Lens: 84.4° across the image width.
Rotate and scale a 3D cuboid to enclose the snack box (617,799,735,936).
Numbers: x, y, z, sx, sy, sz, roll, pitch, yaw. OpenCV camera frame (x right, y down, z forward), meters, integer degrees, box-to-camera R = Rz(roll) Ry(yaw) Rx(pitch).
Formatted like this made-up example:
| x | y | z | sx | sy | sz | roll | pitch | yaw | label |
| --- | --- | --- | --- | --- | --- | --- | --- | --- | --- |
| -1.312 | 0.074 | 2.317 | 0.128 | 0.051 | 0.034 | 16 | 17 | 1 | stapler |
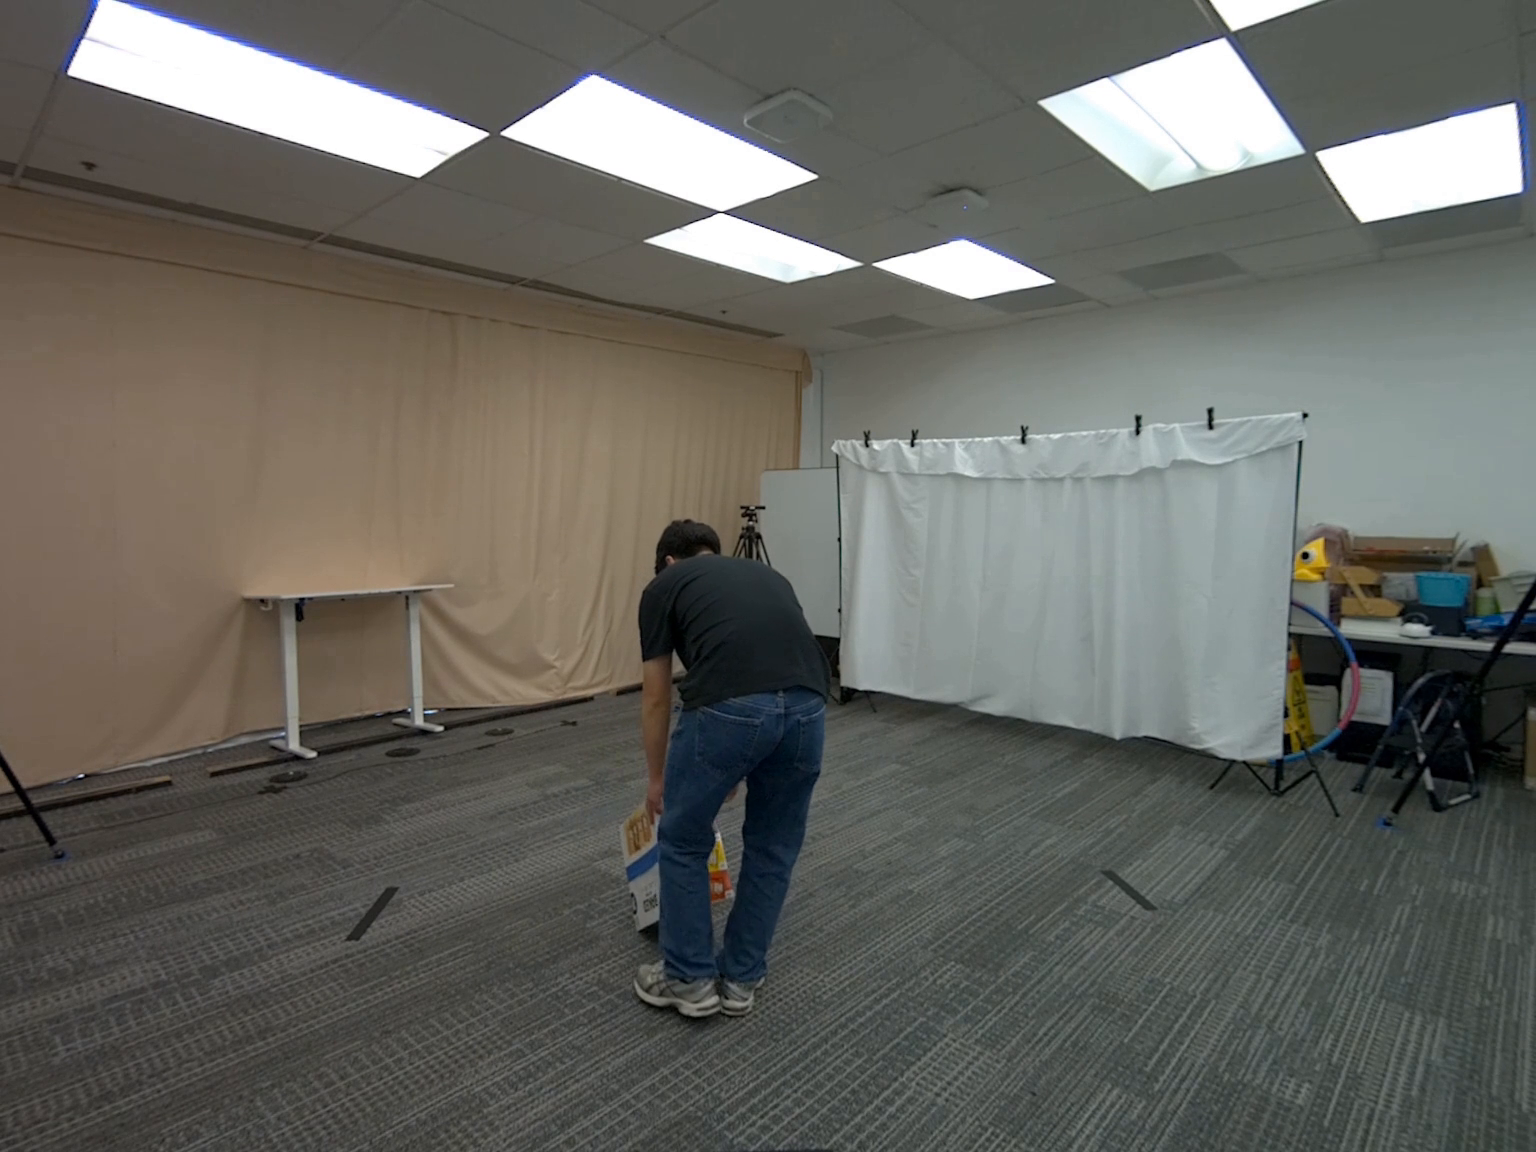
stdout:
| x | y | z | sx | sy | sz | roll | pitch | yaw | label |
| --- | --- | --- | --- | --- | --- | --- | --- | --- | --- |
| -0.308 | 0.917 | 2.711 | 0.201 | 0.347 | 0.406 | -2 | -28 | -25 | snack box |
